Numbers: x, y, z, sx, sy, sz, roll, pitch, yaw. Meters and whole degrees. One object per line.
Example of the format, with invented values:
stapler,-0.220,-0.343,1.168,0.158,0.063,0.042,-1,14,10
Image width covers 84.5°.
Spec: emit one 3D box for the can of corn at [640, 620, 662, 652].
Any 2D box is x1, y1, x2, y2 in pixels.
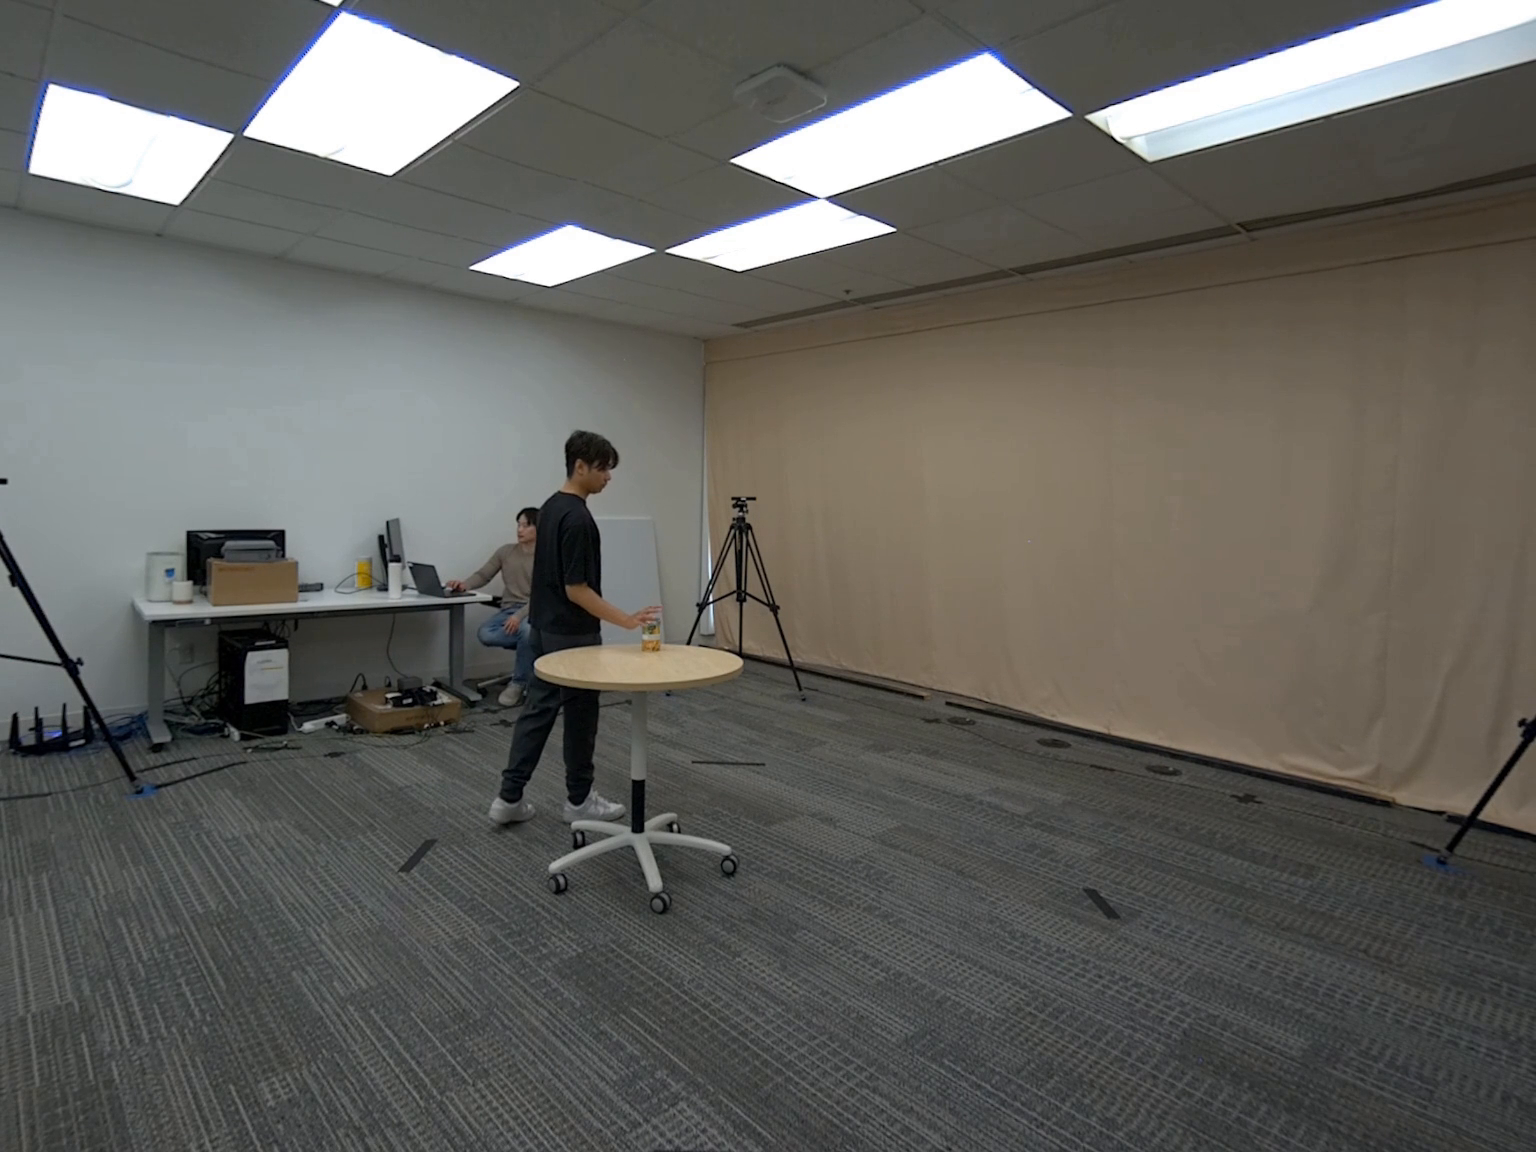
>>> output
can of corn,-0.475,0.242,3.338,0.074,0.111,0.074,0,0,-1
